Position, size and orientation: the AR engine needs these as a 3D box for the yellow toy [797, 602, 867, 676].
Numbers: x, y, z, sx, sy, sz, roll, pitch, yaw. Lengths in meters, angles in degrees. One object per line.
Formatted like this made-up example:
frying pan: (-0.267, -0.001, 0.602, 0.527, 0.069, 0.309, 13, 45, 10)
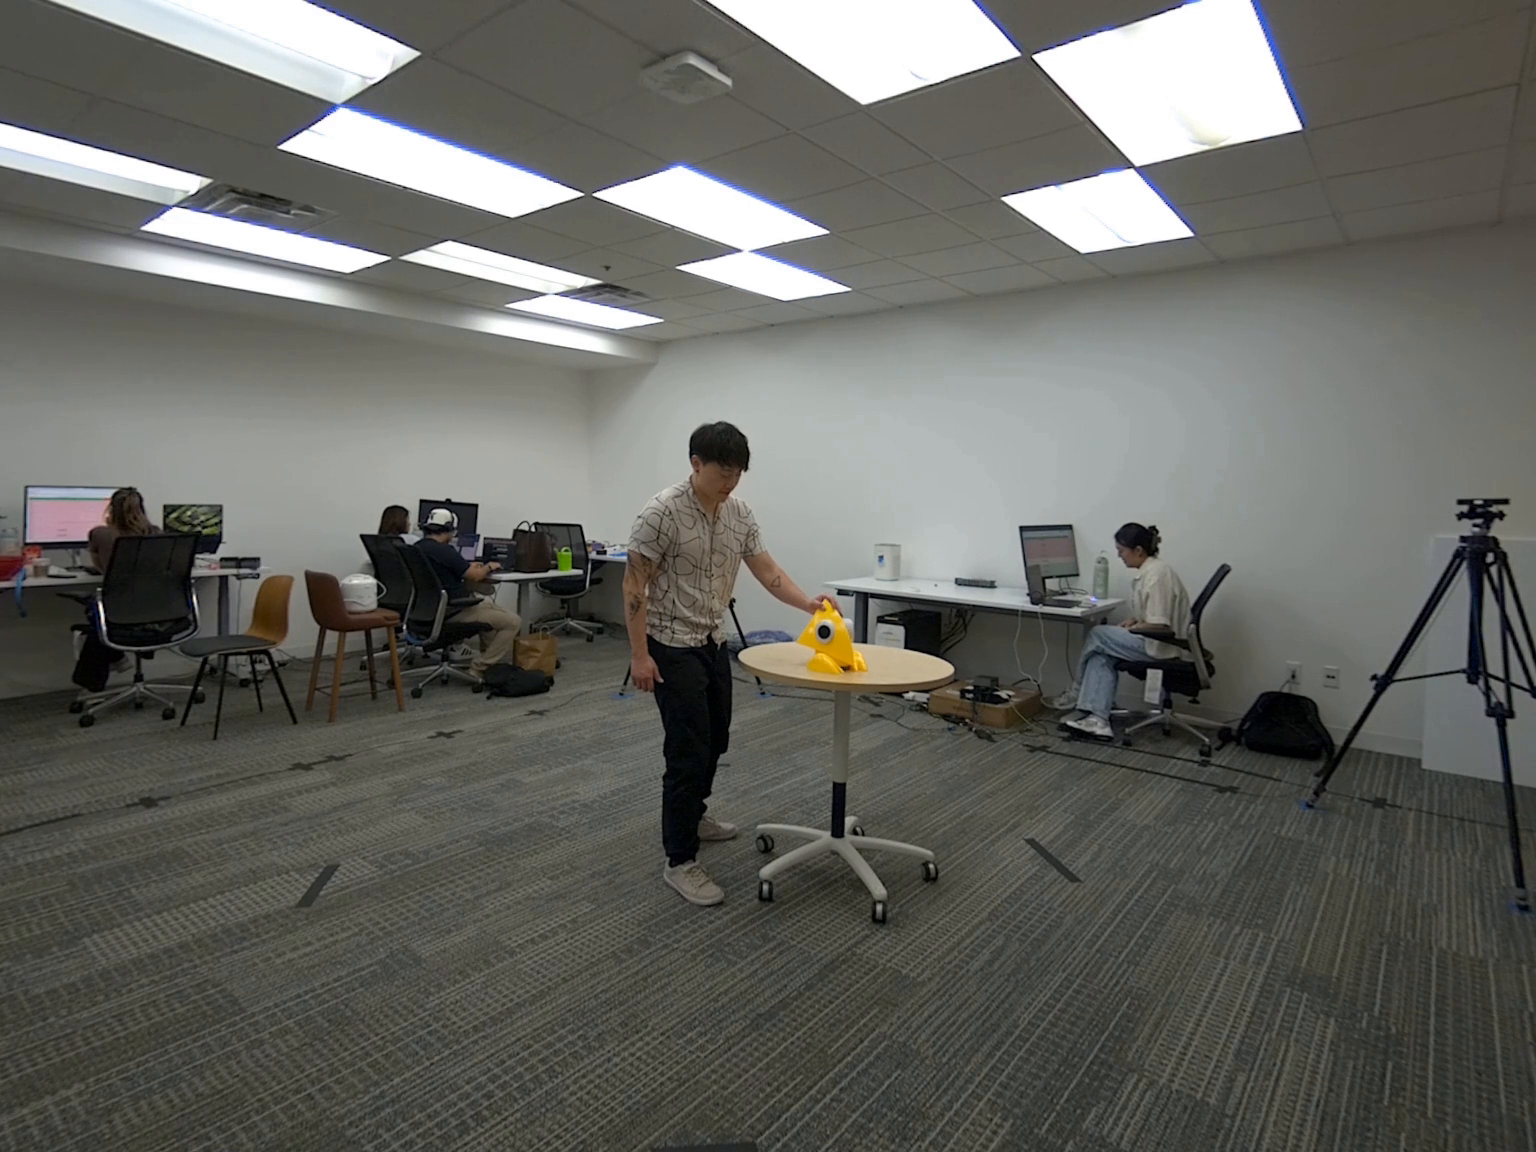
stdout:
yellow toy: (0.226, 0.202, 2.914, 0.199, 0.230, 0.199, -1, 4, -38)
